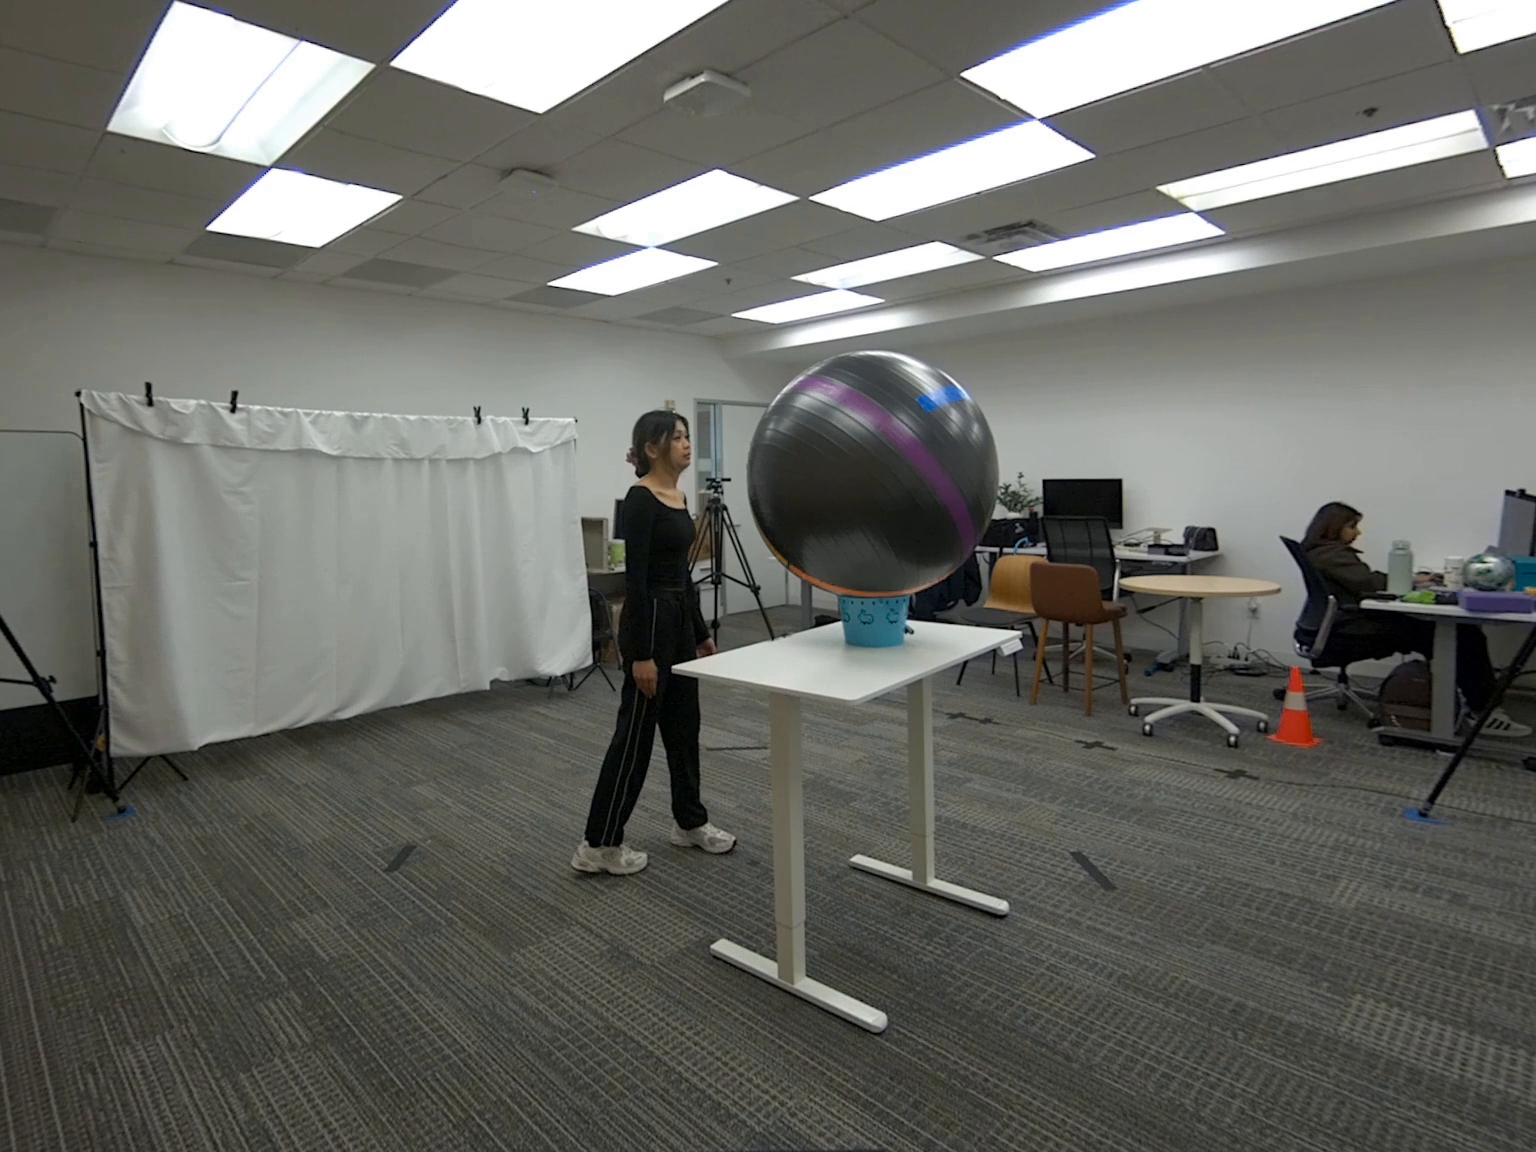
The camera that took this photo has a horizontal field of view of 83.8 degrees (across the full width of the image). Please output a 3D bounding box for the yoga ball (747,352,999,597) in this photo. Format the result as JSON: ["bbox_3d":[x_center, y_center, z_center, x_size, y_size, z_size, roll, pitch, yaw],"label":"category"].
[{"bbox_3d":[0.315,-0.297,2.624,0.757,0.755,0.762,-1,5,-2],"label":"yoga ball"}]
